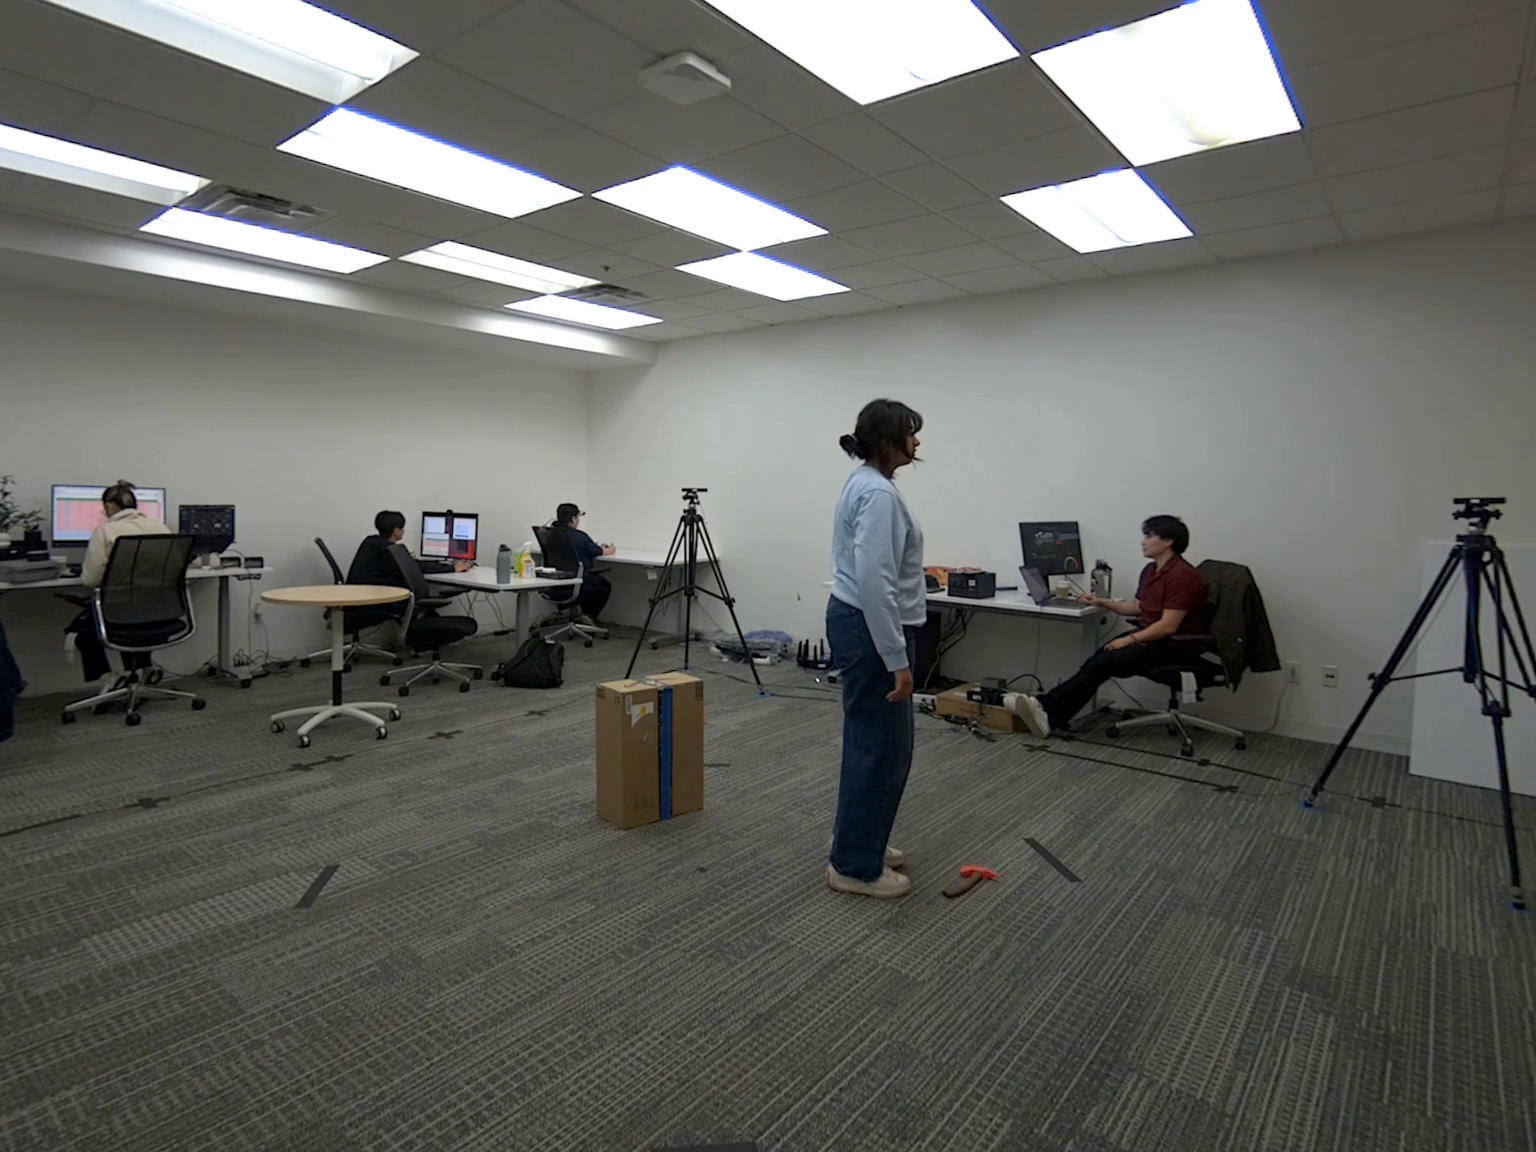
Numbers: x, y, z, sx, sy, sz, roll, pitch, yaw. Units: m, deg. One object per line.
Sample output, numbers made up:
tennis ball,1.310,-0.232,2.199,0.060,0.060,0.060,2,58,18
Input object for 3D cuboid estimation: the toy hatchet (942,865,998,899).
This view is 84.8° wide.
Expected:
toy hatchet,0.691,1.089,3.050,0.262,0.029,0.135,-5,9,-37
